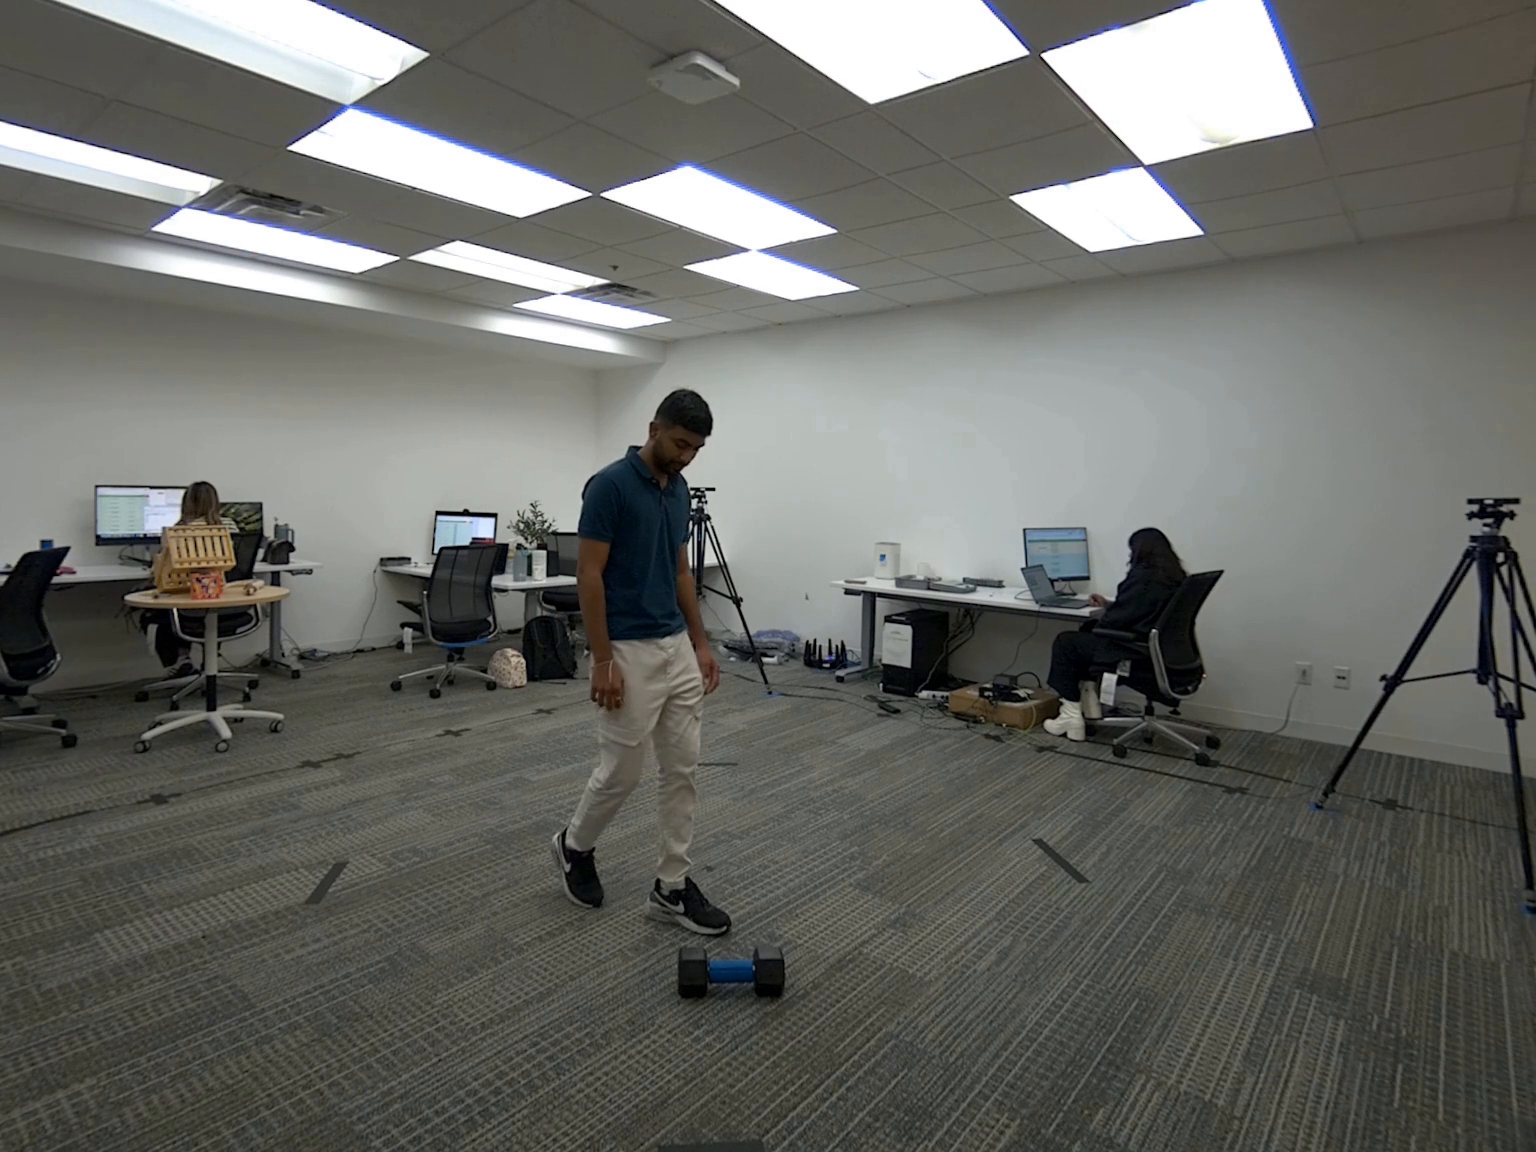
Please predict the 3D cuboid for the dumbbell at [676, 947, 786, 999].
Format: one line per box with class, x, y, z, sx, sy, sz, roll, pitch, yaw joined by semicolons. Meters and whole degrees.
dumbbell;-0.104;1.091;2.349;0.292;0.120;0.112;1;34;-5
